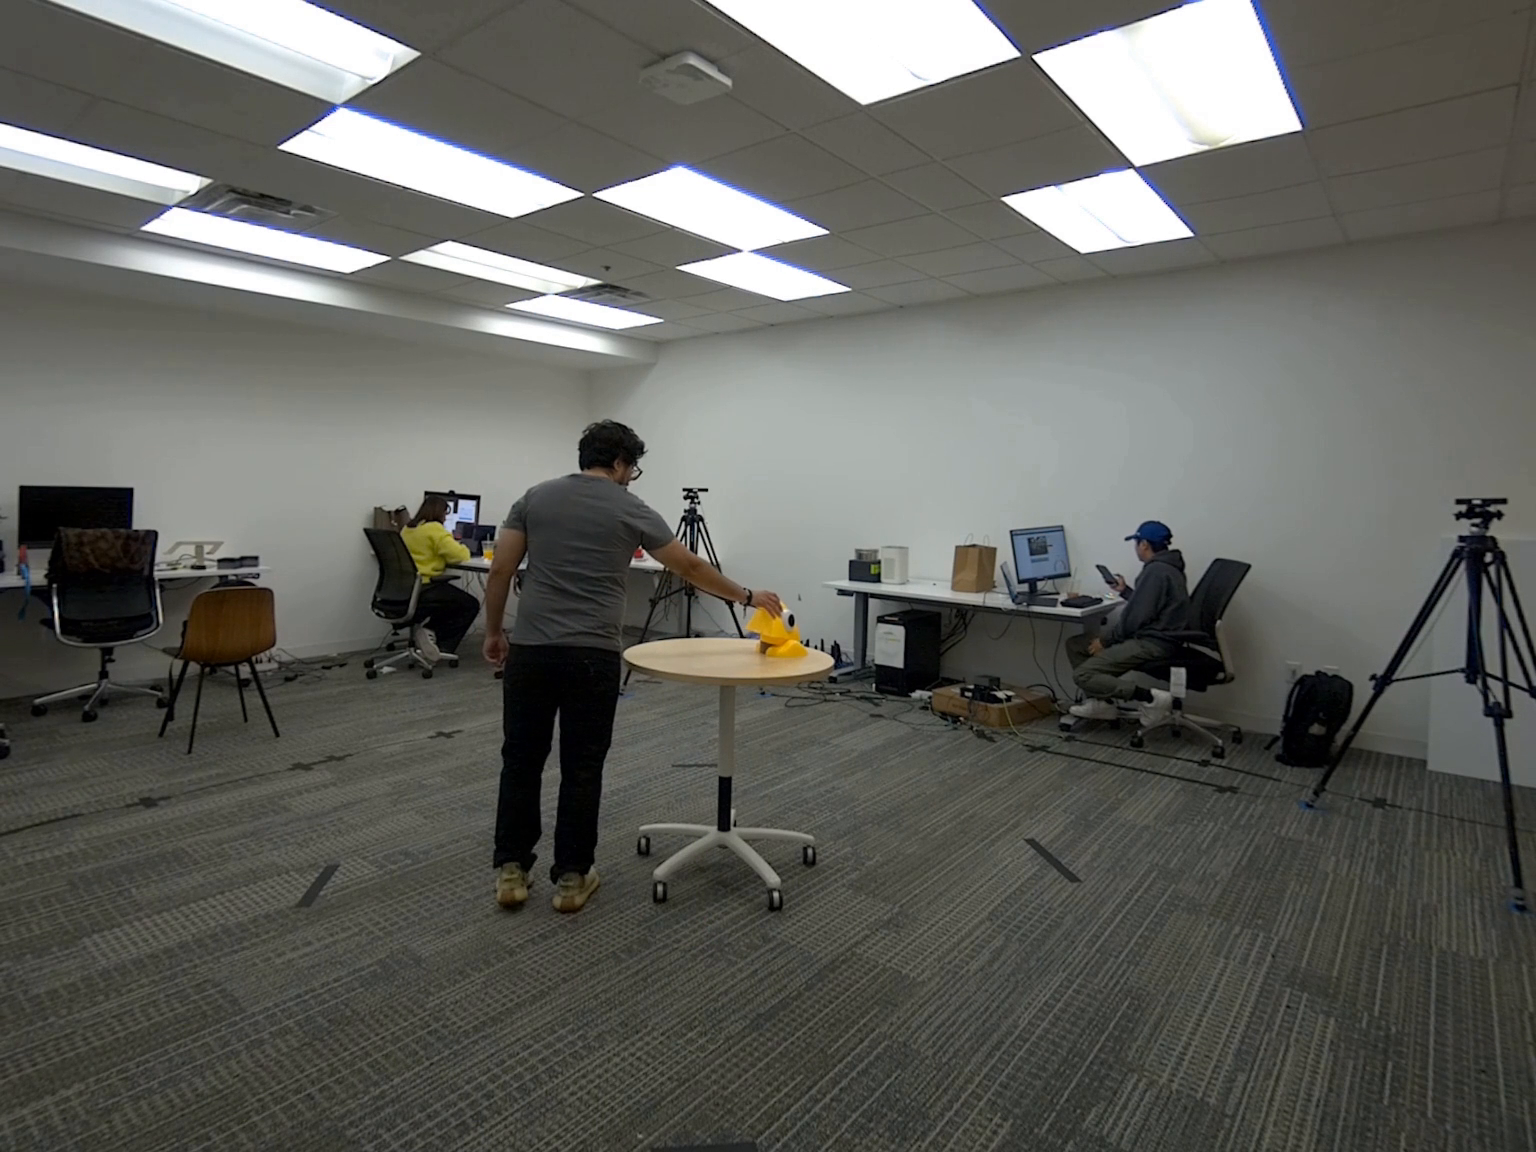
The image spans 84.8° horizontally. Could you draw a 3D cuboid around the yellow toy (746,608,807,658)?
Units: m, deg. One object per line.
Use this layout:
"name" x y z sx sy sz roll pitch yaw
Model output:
"yellow toy" 0.025 0.170 3.189 0.188 0.230 0.210 -2 4 -28
